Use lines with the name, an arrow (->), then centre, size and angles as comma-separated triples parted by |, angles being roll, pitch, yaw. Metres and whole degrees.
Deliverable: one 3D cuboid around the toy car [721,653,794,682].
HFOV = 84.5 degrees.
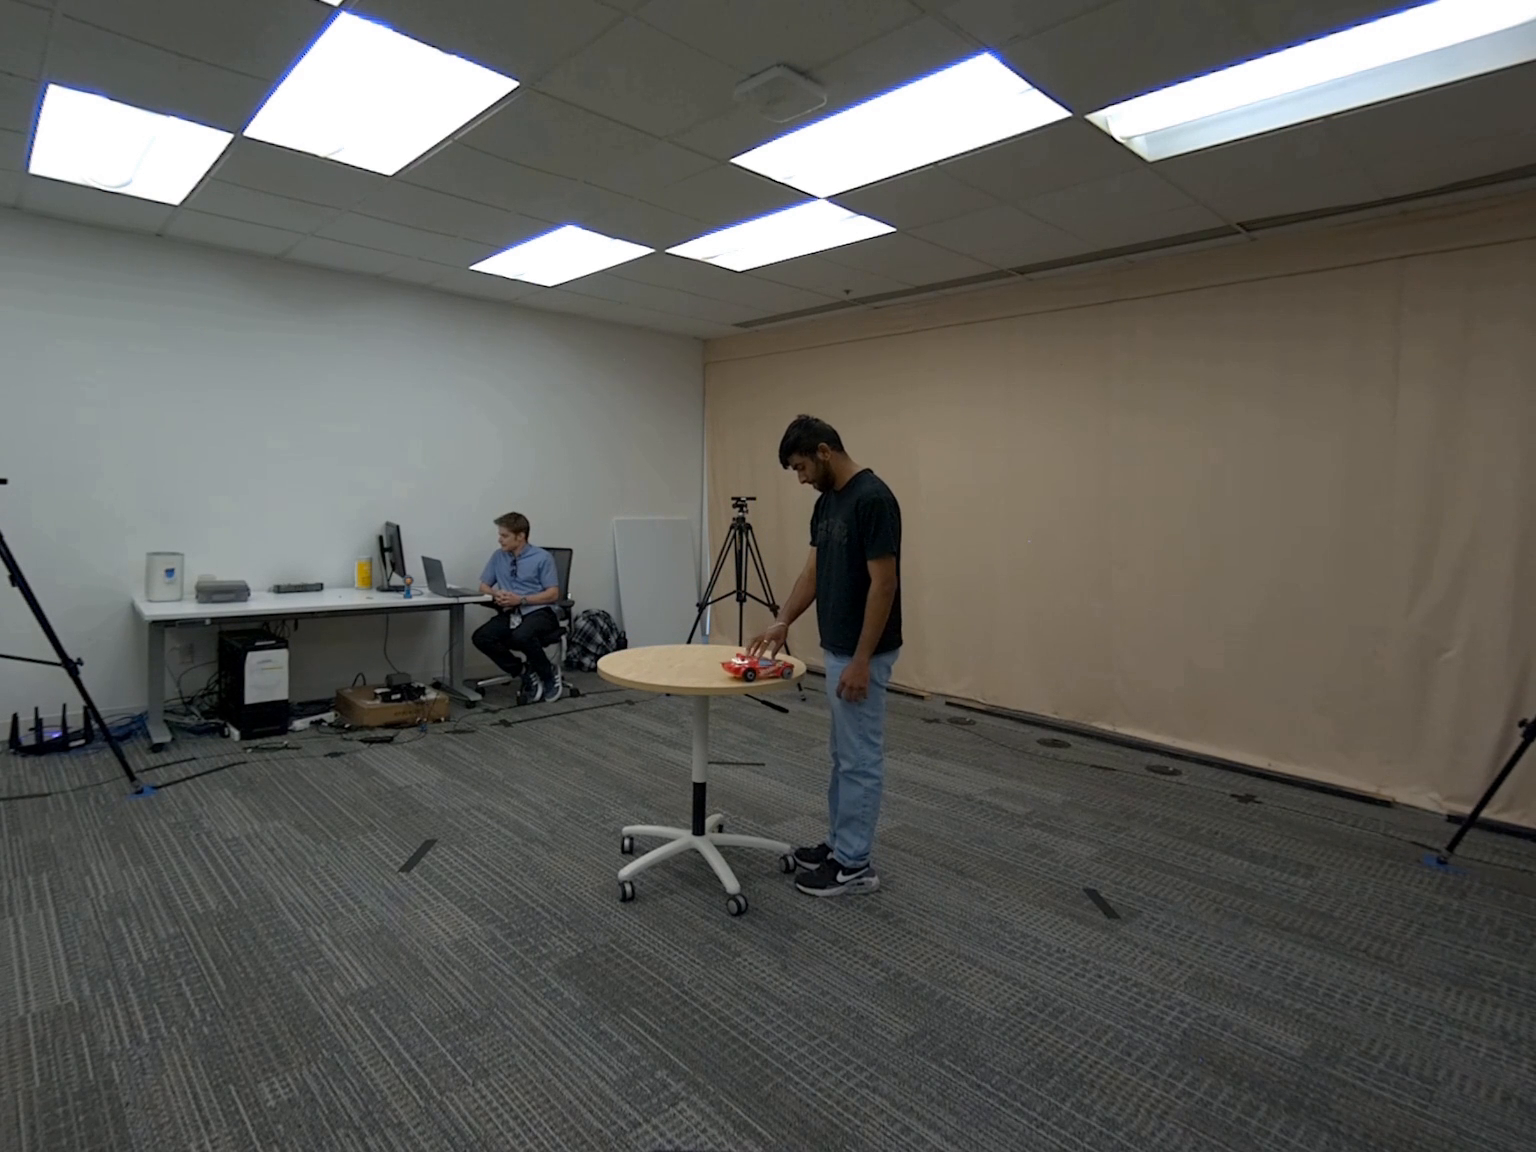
toy car -> -0.045, 0.316, 2.873 | 0.249, 0.083, 0.133 | 12, 0, -25
